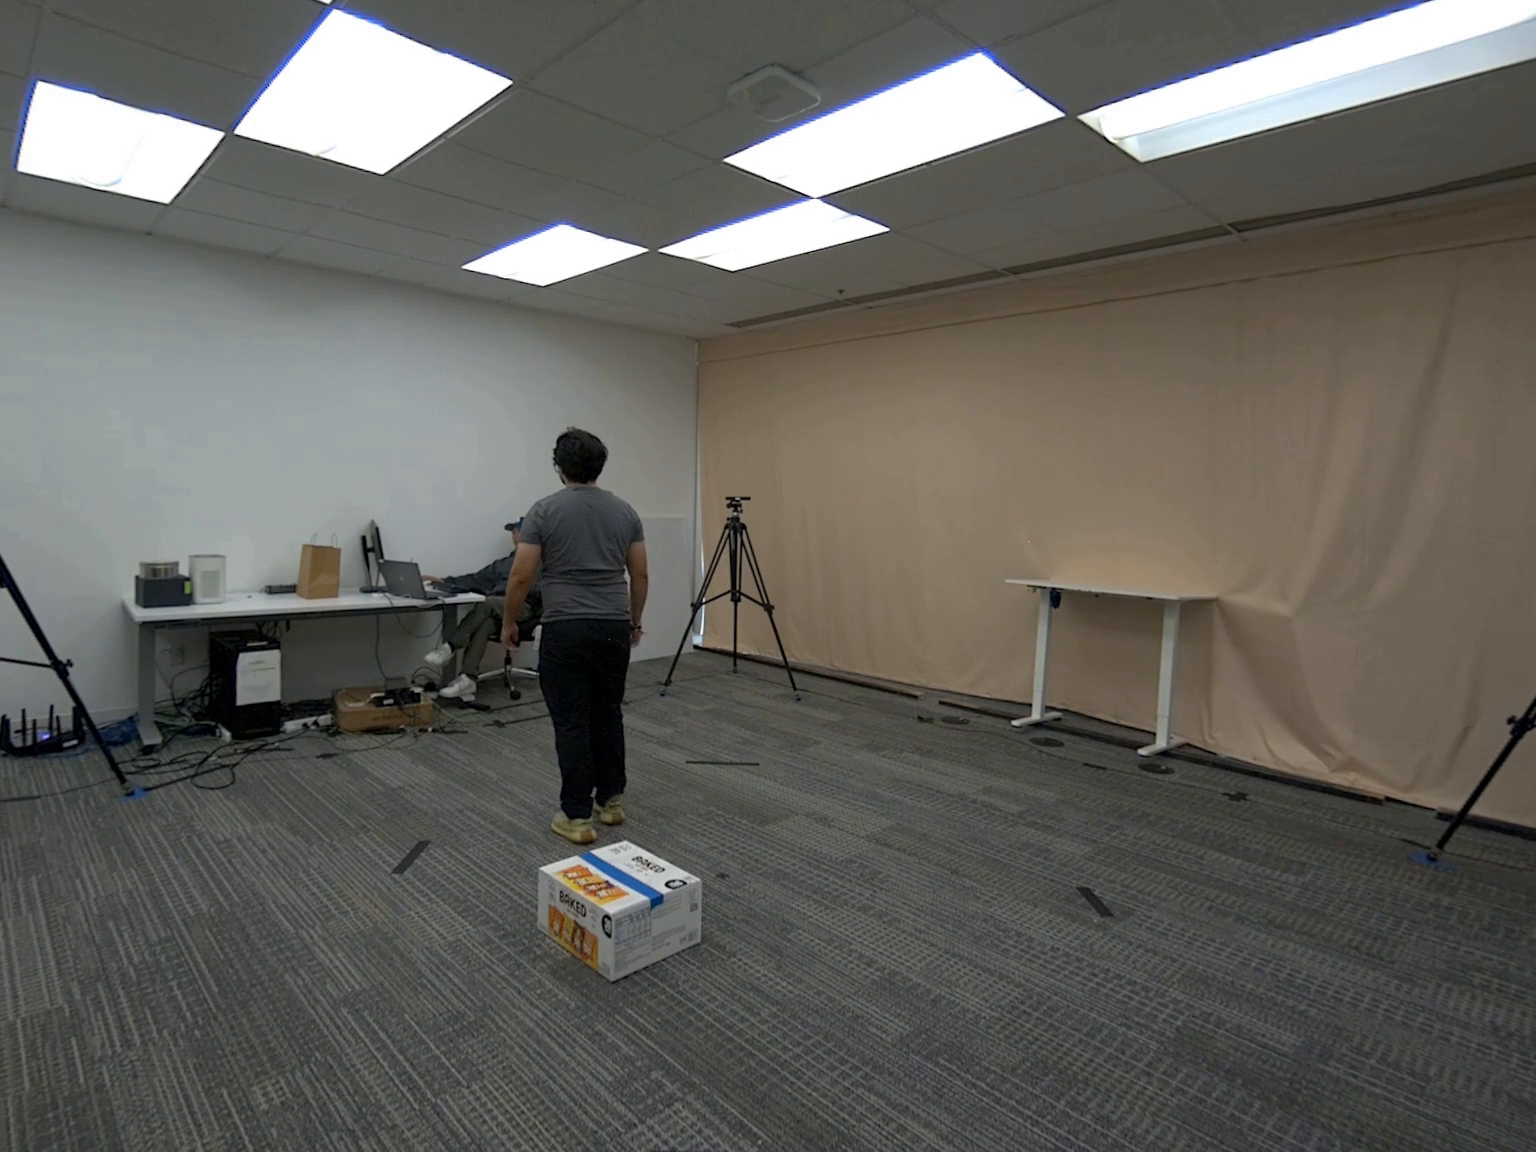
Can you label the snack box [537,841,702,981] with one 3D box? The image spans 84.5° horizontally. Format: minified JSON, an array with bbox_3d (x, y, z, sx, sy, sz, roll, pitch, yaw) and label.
[{"bbox_3d":[-0.475,1.041,2.647,0.332,0.205,0.415,-3,6,-44],"label":"snack box"}]
